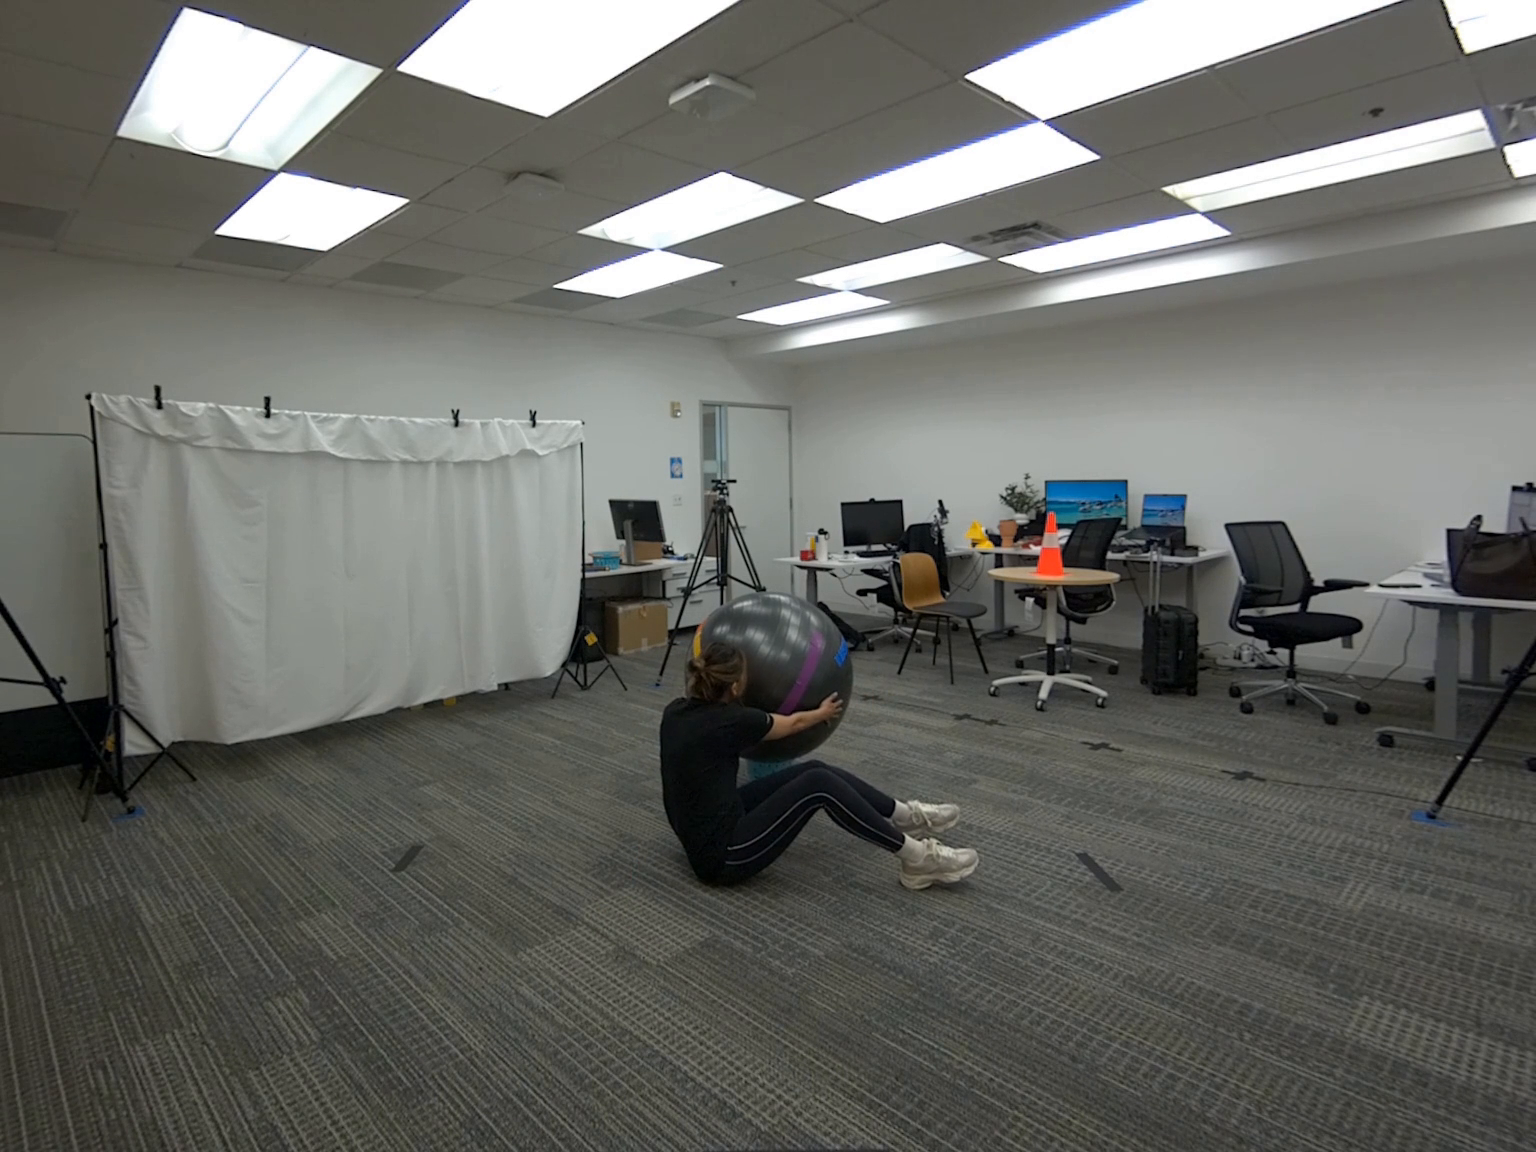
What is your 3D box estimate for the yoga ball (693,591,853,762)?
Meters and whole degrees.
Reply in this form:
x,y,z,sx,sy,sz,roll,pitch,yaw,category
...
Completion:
x,y,z,sx,sy,sz,roll,pitch,yaw,category
0.001,0.449,3.847,0.757,0.755,0.762,-1,5,-2,yoga ball
